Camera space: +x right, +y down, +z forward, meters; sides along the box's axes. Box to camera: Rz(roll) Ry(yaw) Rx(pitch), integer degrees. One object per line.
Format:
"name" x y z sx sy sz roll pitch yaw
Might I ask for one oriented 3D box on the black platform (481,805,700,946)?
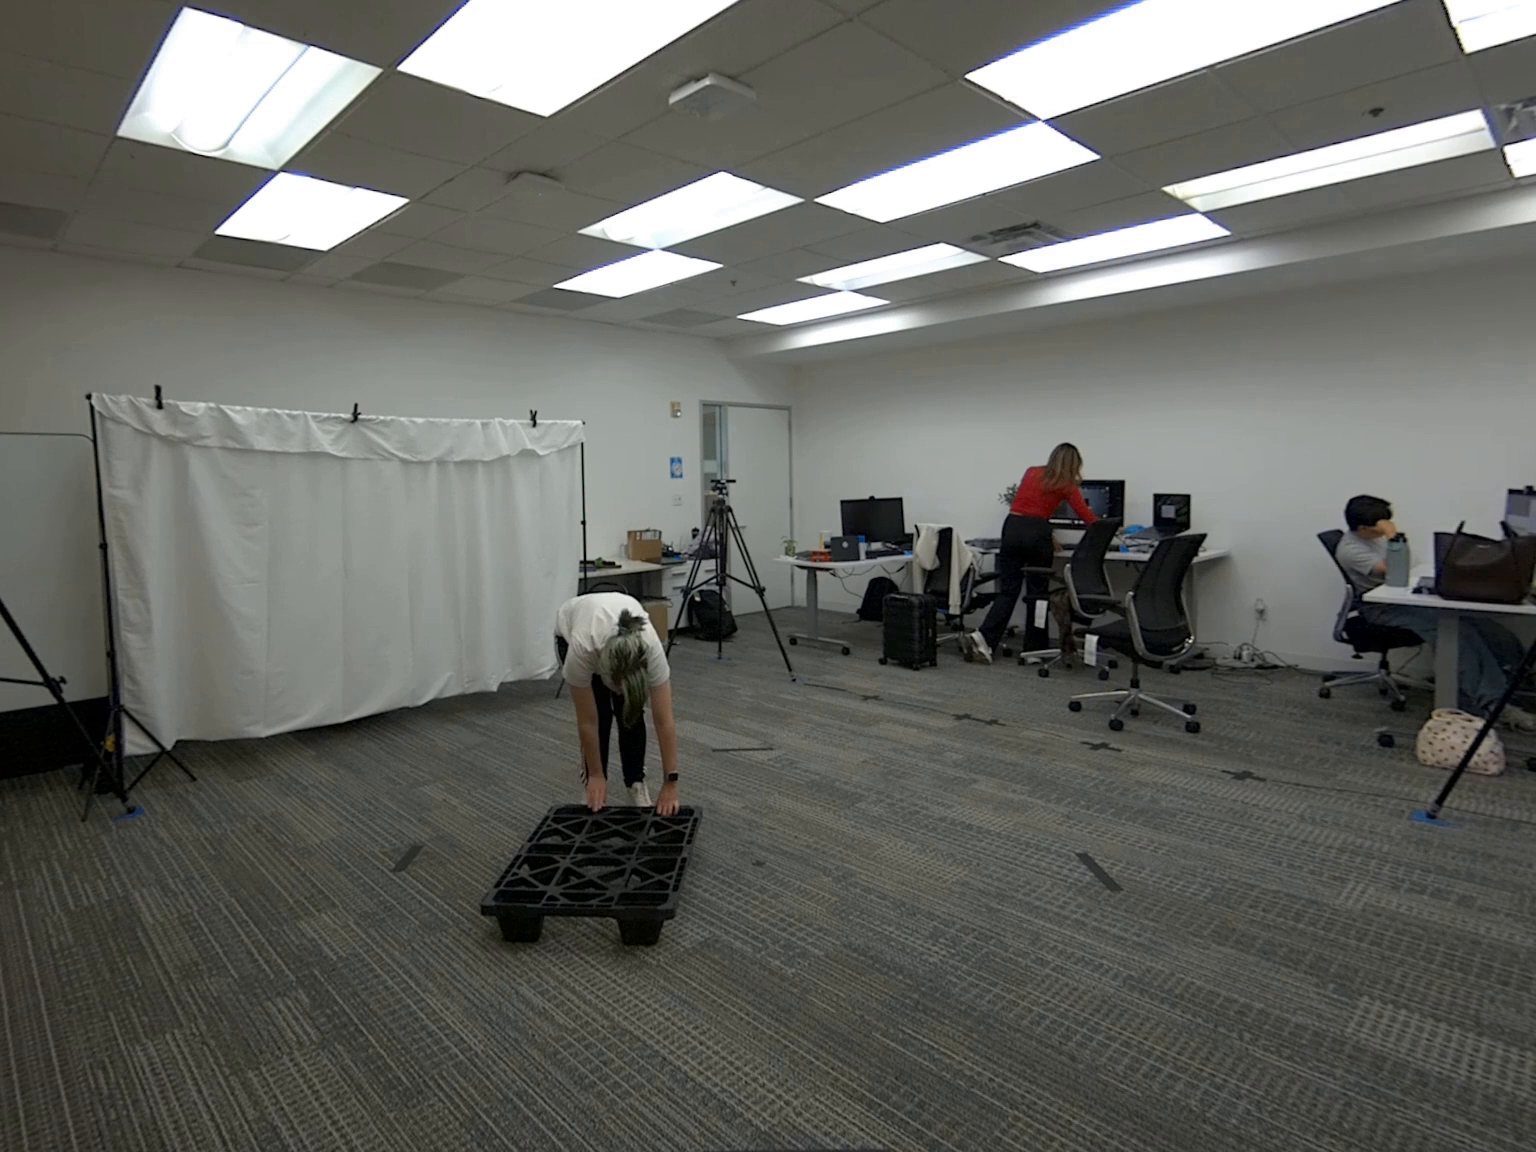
"black platform" -0.564 1.007 2.950 0.608 0.143 0.806 -1 6 3
